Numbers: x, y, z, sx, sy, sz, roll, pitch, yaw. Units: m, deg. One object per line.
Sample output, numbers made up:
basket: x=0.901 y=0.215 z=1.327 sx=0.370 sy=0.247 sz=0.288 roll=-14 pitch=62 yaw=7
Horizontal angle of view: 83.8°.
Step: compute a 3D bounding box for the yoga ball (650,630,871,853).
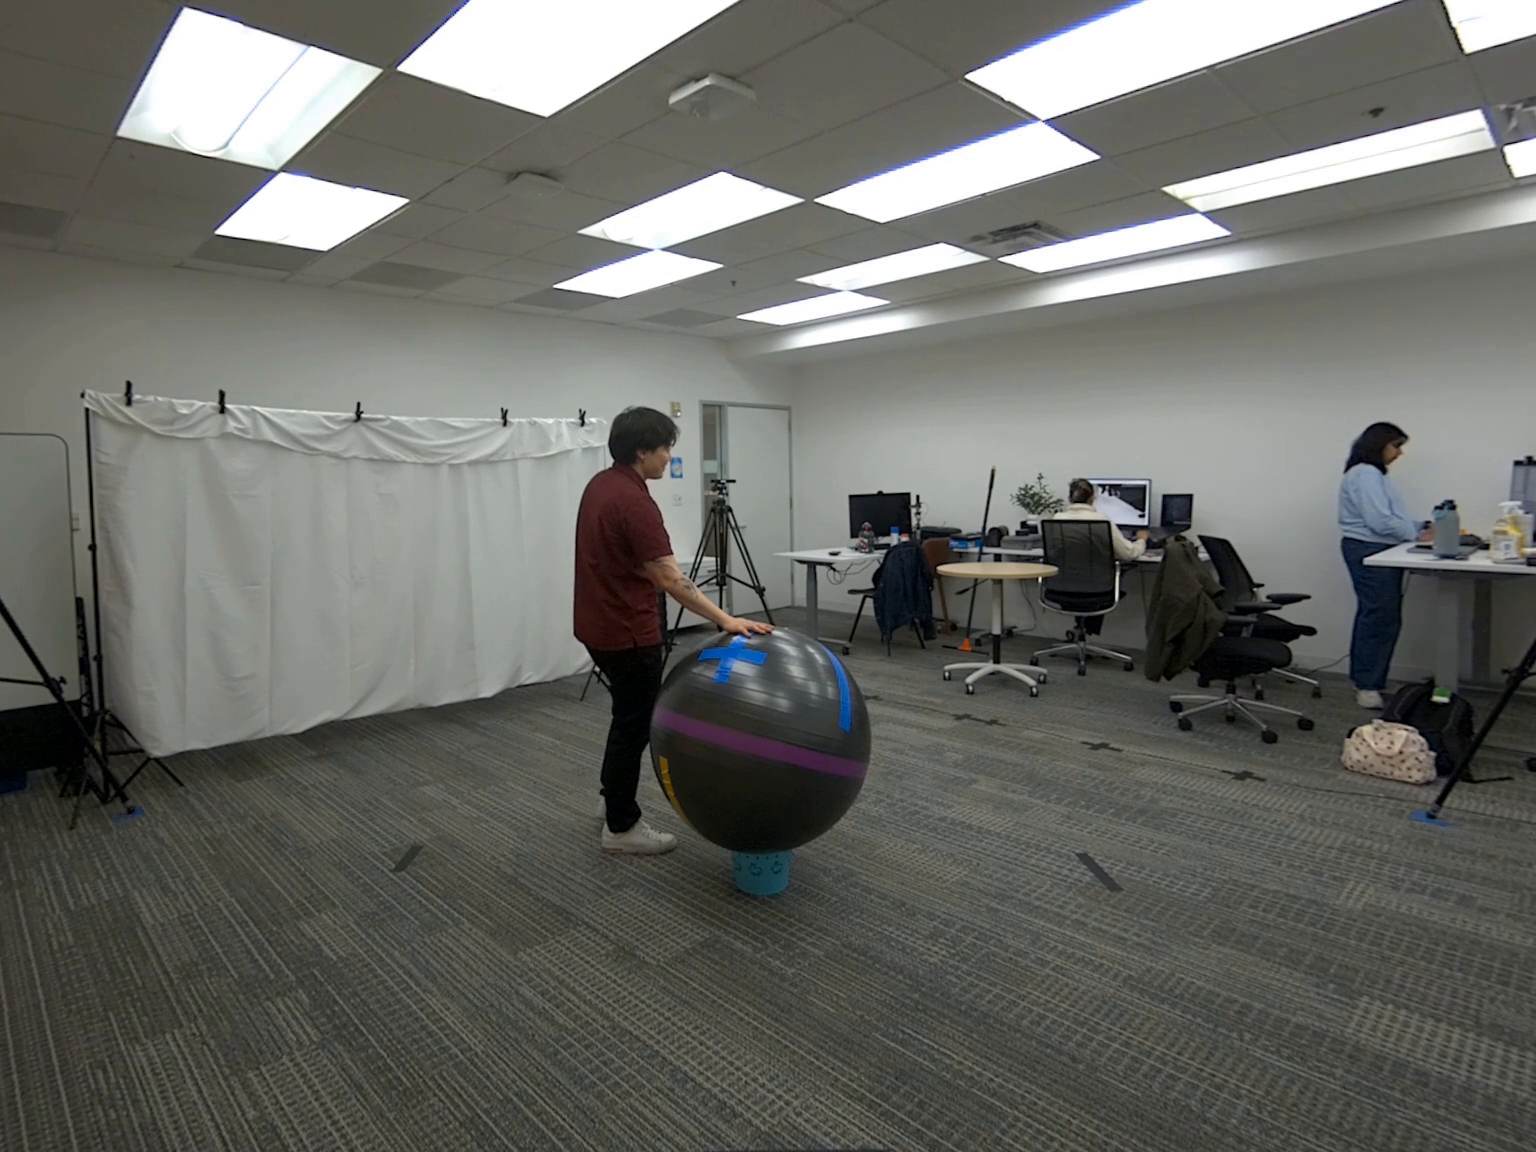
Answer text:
yoga ball: x=-0.019 y=0.558 z=2.948 sx=0.757 sy=0.755 sz=0.762 roll=-1 pitch=5 yaw=-2
